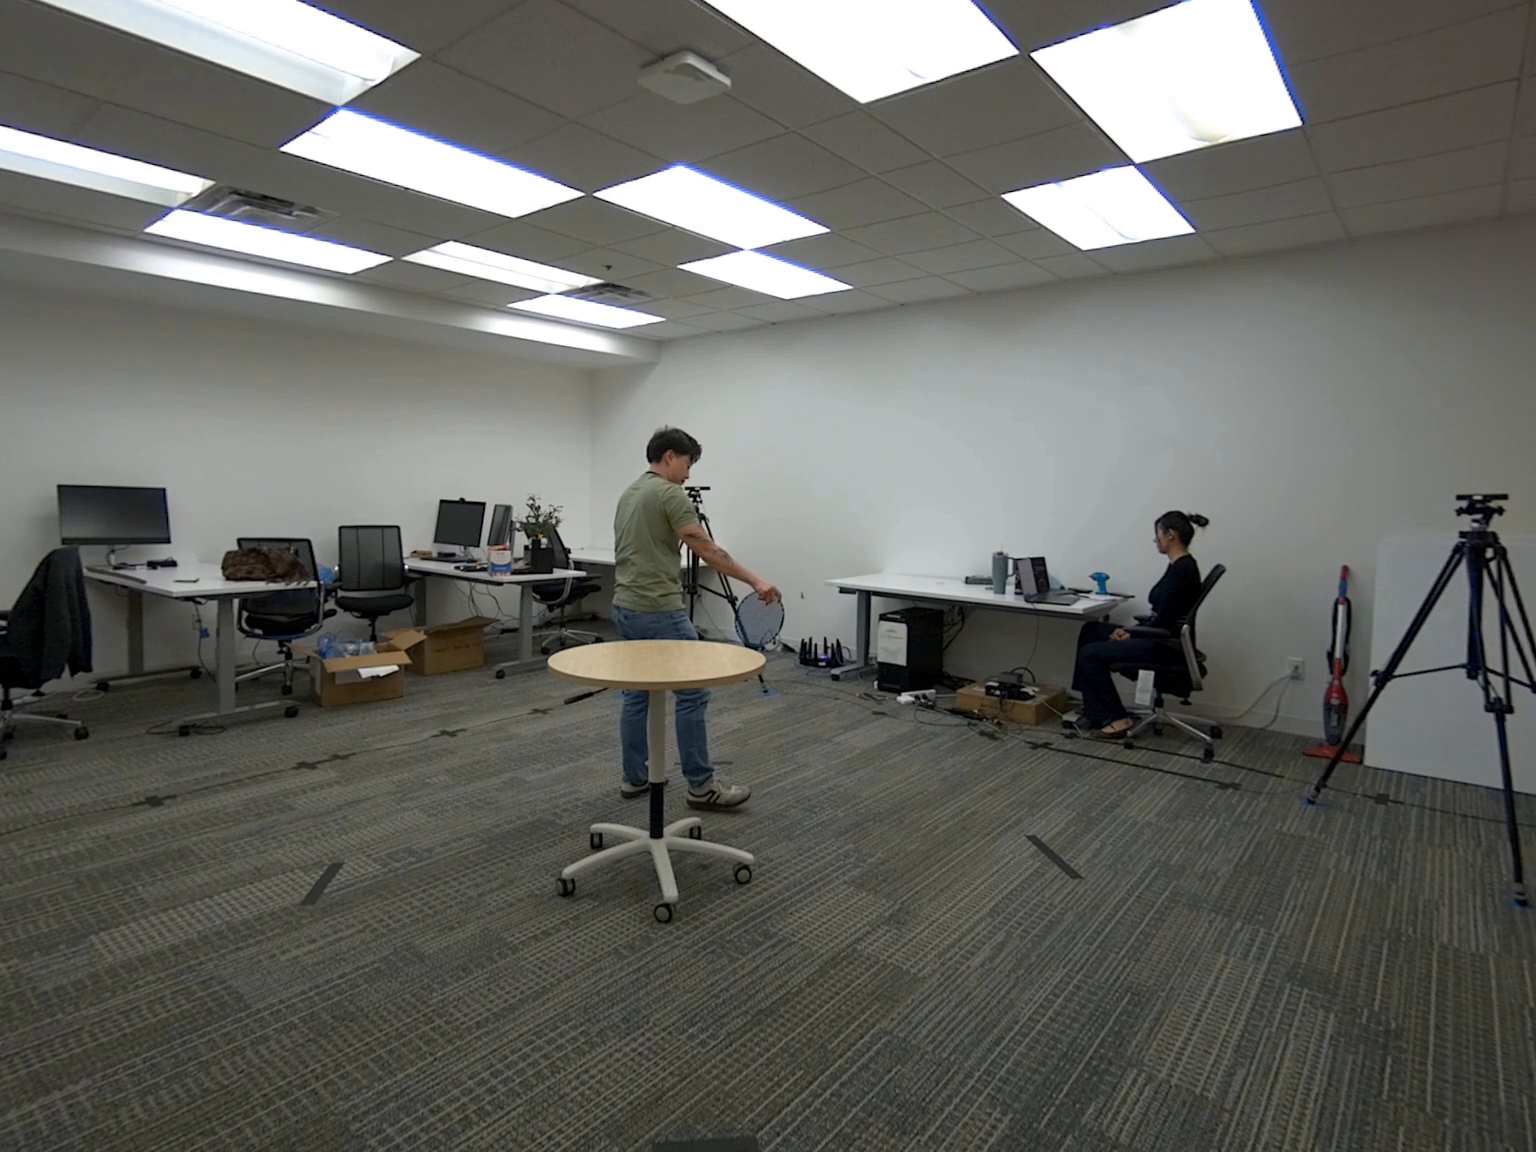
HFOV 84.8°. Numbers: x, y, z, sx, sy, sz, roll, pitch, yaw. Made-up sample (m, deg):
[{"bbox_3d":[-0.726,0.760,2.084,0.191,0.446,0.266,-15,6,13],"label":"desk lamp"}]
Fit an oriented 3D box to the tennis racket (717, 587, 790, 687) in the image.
[{"bbox_3d":[-0.071,0.272,3.716,0.211,0.428,0.032,13,18,-9],"label":"tennis racket"}]
